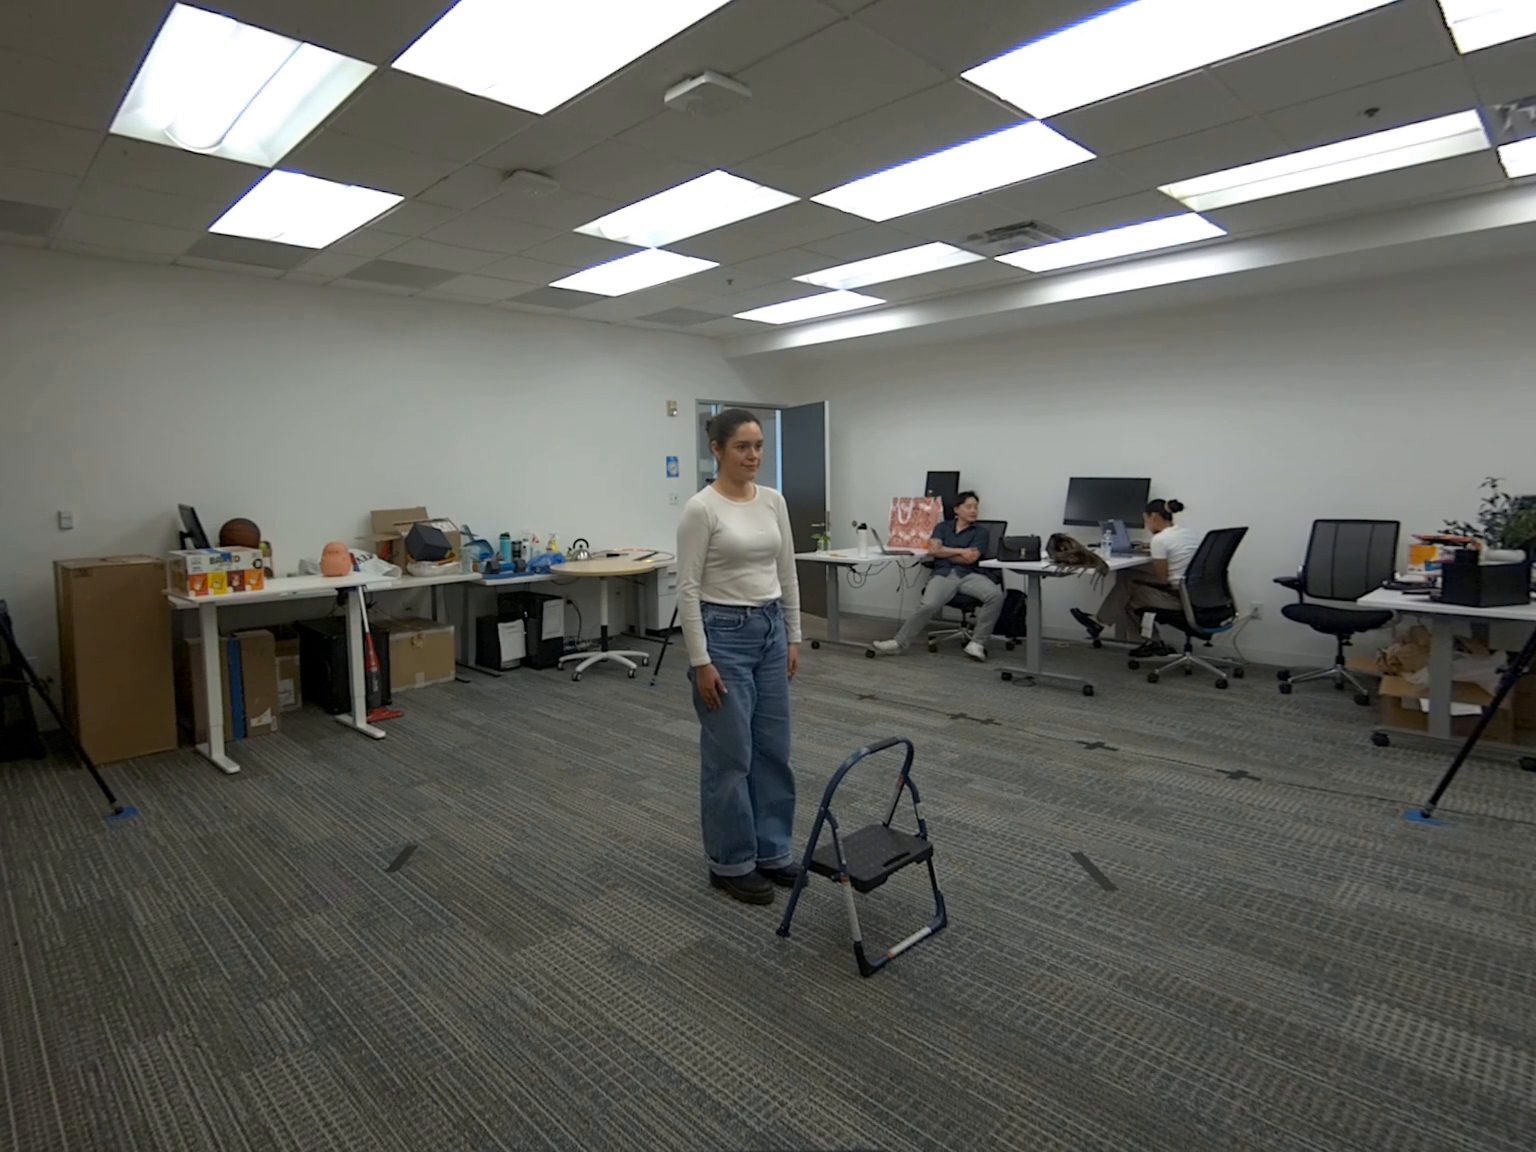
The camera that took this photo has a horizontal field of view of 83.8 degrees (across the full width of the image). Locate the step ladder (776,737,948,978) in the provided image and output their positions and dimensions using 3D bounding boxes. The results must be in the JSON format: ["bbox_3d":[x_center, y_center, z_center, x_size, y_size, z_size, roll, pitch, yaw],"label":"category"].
[{"bbox_3d":[0.292,0.792,2.623,0.419,0.604,0.360,-6,7,-45],"label":"step ladder"}]
